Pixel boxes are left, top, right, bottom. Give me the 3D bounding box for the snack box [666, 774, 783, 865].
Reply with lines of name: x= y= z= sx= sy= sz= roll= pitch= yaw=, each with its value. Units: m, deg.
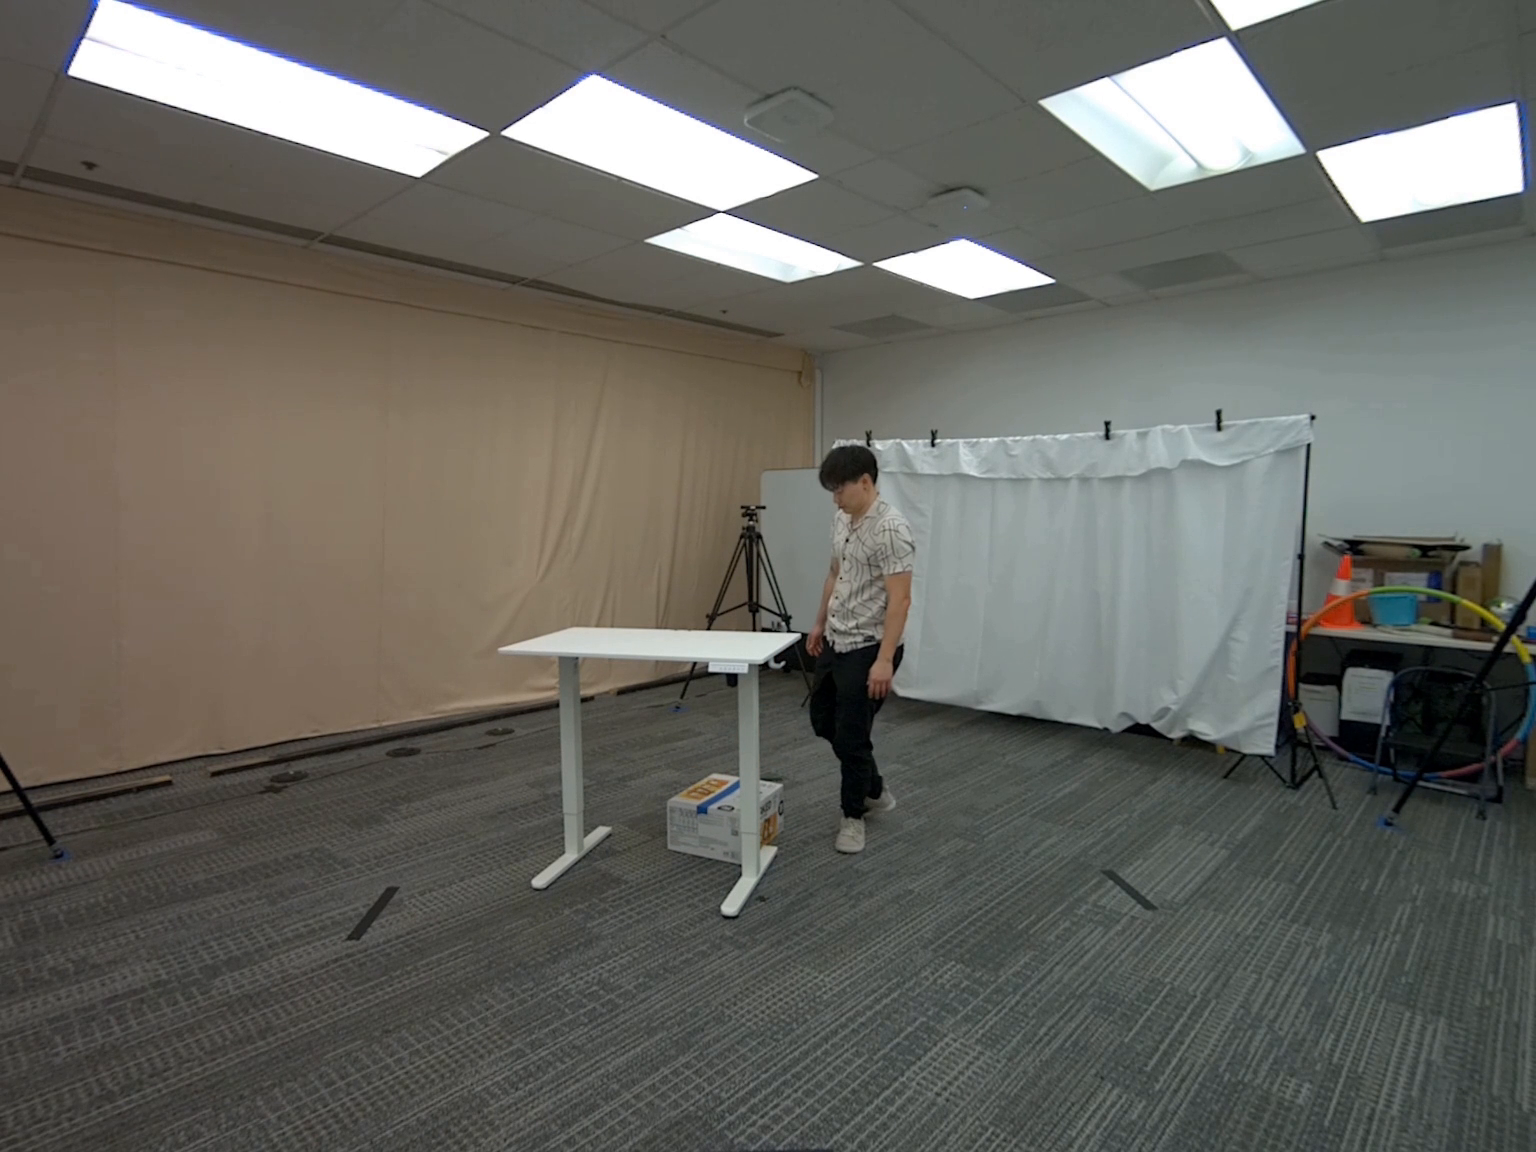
snack box: x=-0.171 y=1.000 z=3.500 sx=0.349 sy=0.205 sz=0.395 roll=1 pitch=4 yaw=26
